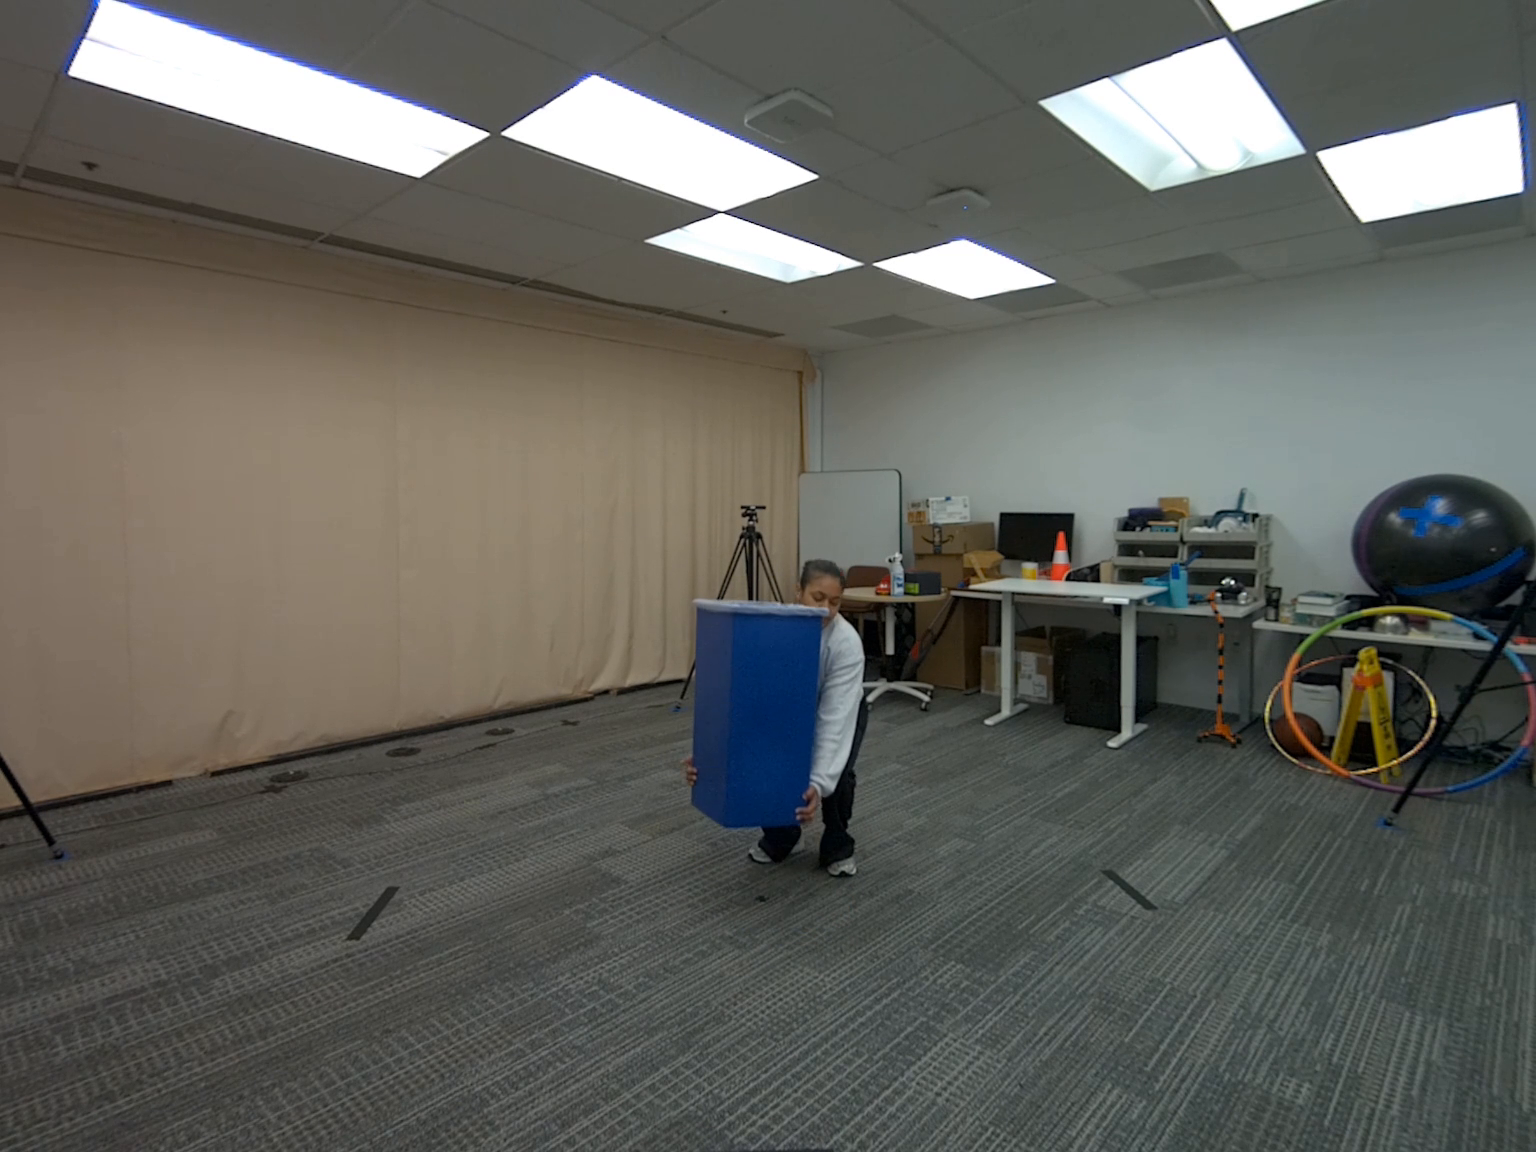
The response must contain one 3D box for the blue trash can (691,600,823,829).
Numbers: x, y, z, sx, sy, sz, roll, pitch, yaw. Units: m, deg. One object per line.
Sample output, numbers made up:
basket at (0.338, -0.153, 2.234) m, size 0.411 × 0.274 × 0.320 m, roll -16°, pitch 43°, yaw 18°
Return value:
blue trash can at (-0.049, 0.447, 2.888) m, size 0.368 × 0.714 × 0.383 m, roll 4°, pitch -1°, yaw -26°
